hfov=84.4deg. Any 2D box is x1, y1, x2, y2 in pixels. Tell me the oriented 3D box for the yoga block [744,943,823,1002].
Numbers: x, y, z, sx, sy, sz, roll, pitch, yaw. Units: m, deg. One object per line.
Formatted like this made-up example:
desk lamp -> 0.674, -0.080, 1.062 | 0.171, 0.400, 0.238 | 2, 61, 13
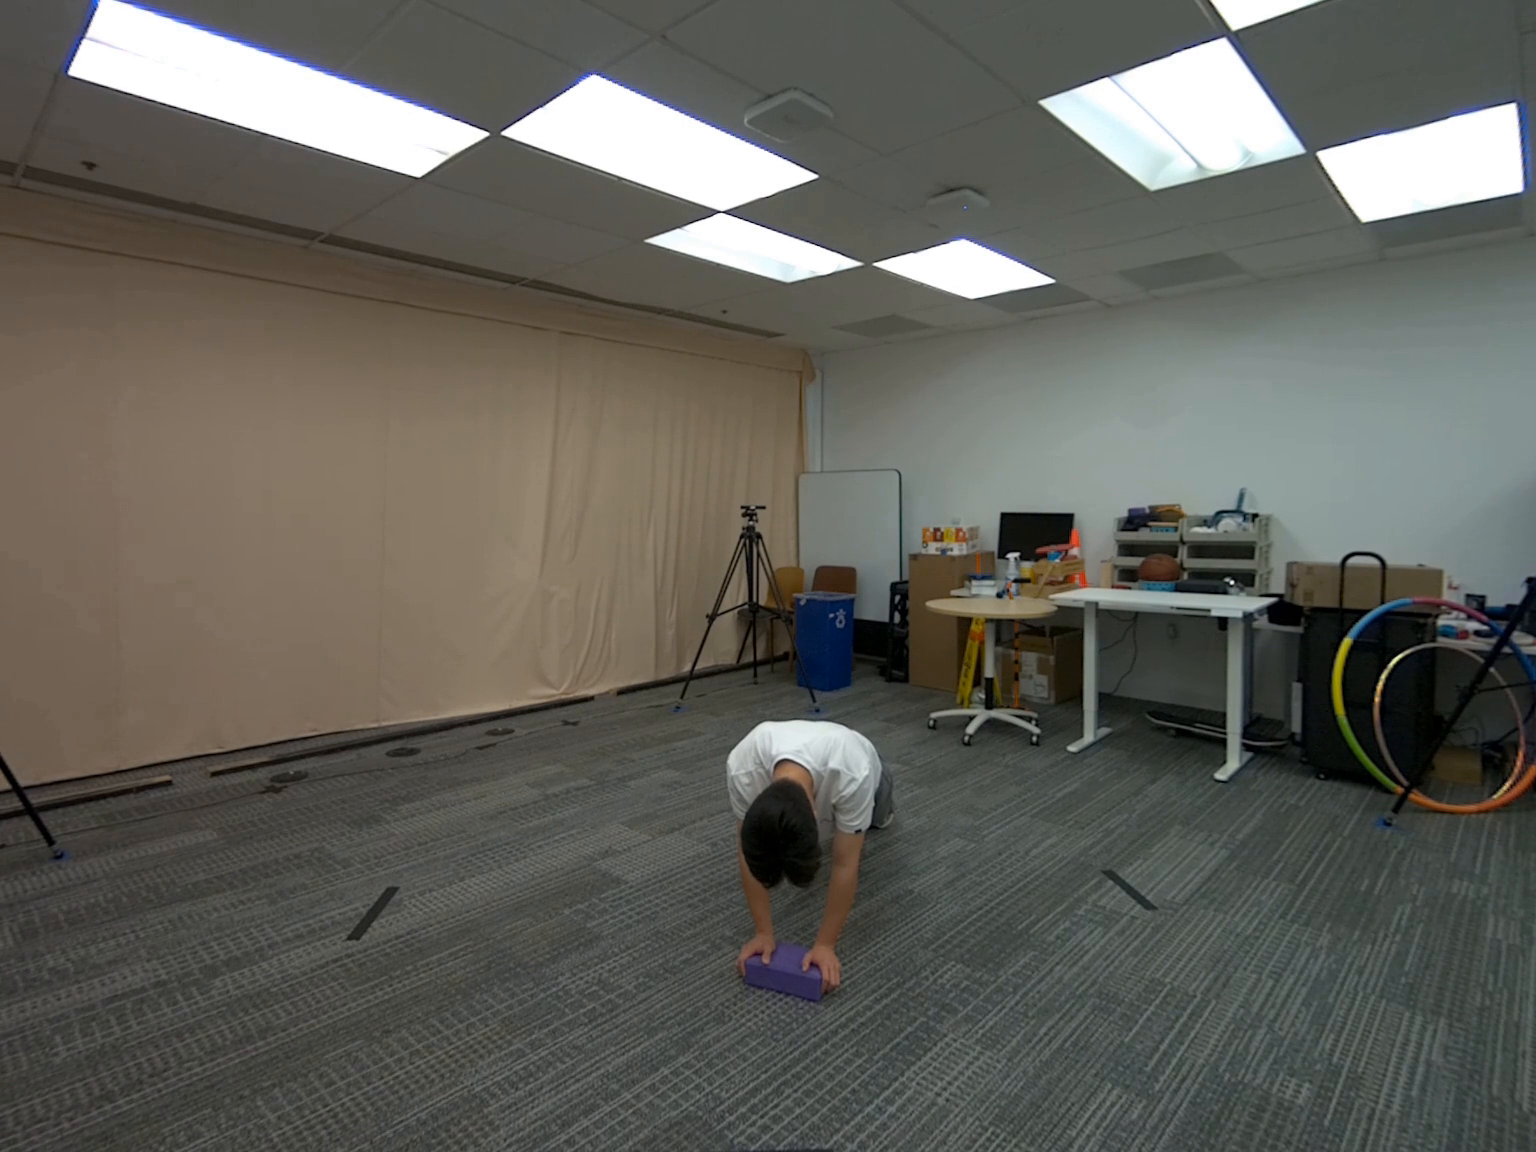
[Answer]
yoga block -> 0.075, 1.154, 2.461 | 0.235, 0.076, 0.146 | 2, 7, 24
